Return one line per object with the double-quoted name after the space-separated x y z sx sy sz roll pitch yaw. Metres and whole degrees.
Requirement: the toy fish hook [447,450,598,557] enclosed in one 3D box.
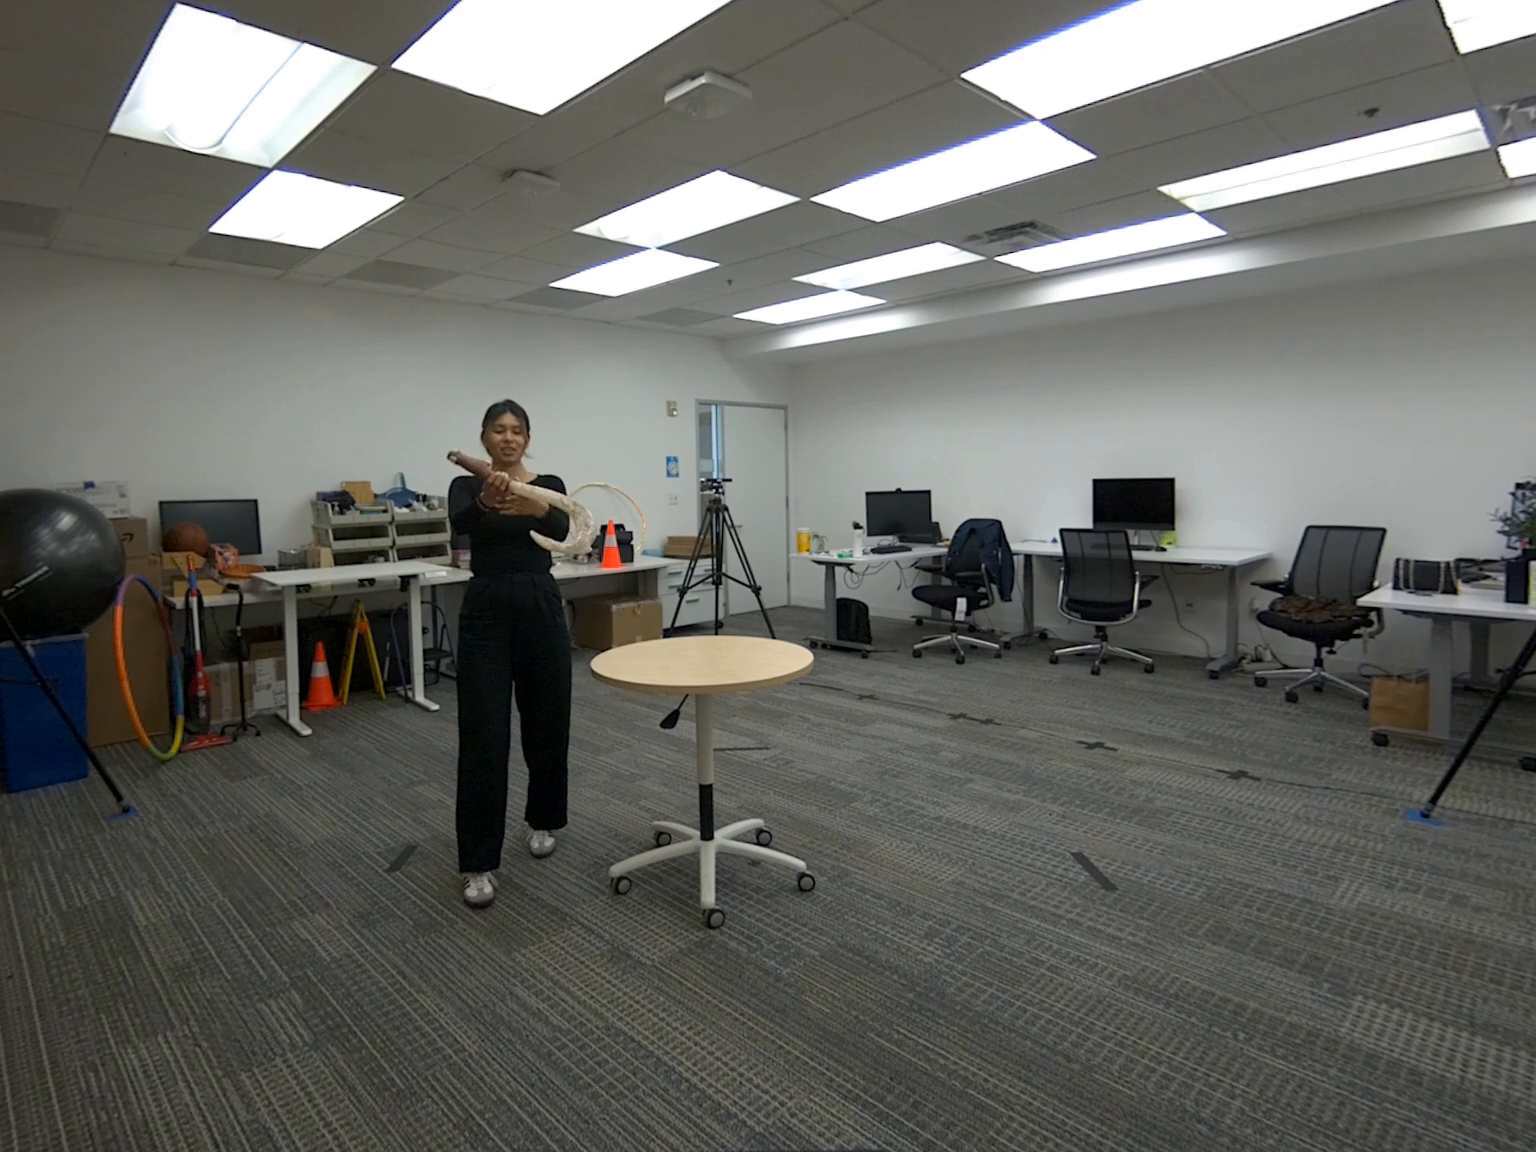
-0.750 -0.213 2.586 0.495 0.048 0.230 27 38 -19 "toy fish hook"
